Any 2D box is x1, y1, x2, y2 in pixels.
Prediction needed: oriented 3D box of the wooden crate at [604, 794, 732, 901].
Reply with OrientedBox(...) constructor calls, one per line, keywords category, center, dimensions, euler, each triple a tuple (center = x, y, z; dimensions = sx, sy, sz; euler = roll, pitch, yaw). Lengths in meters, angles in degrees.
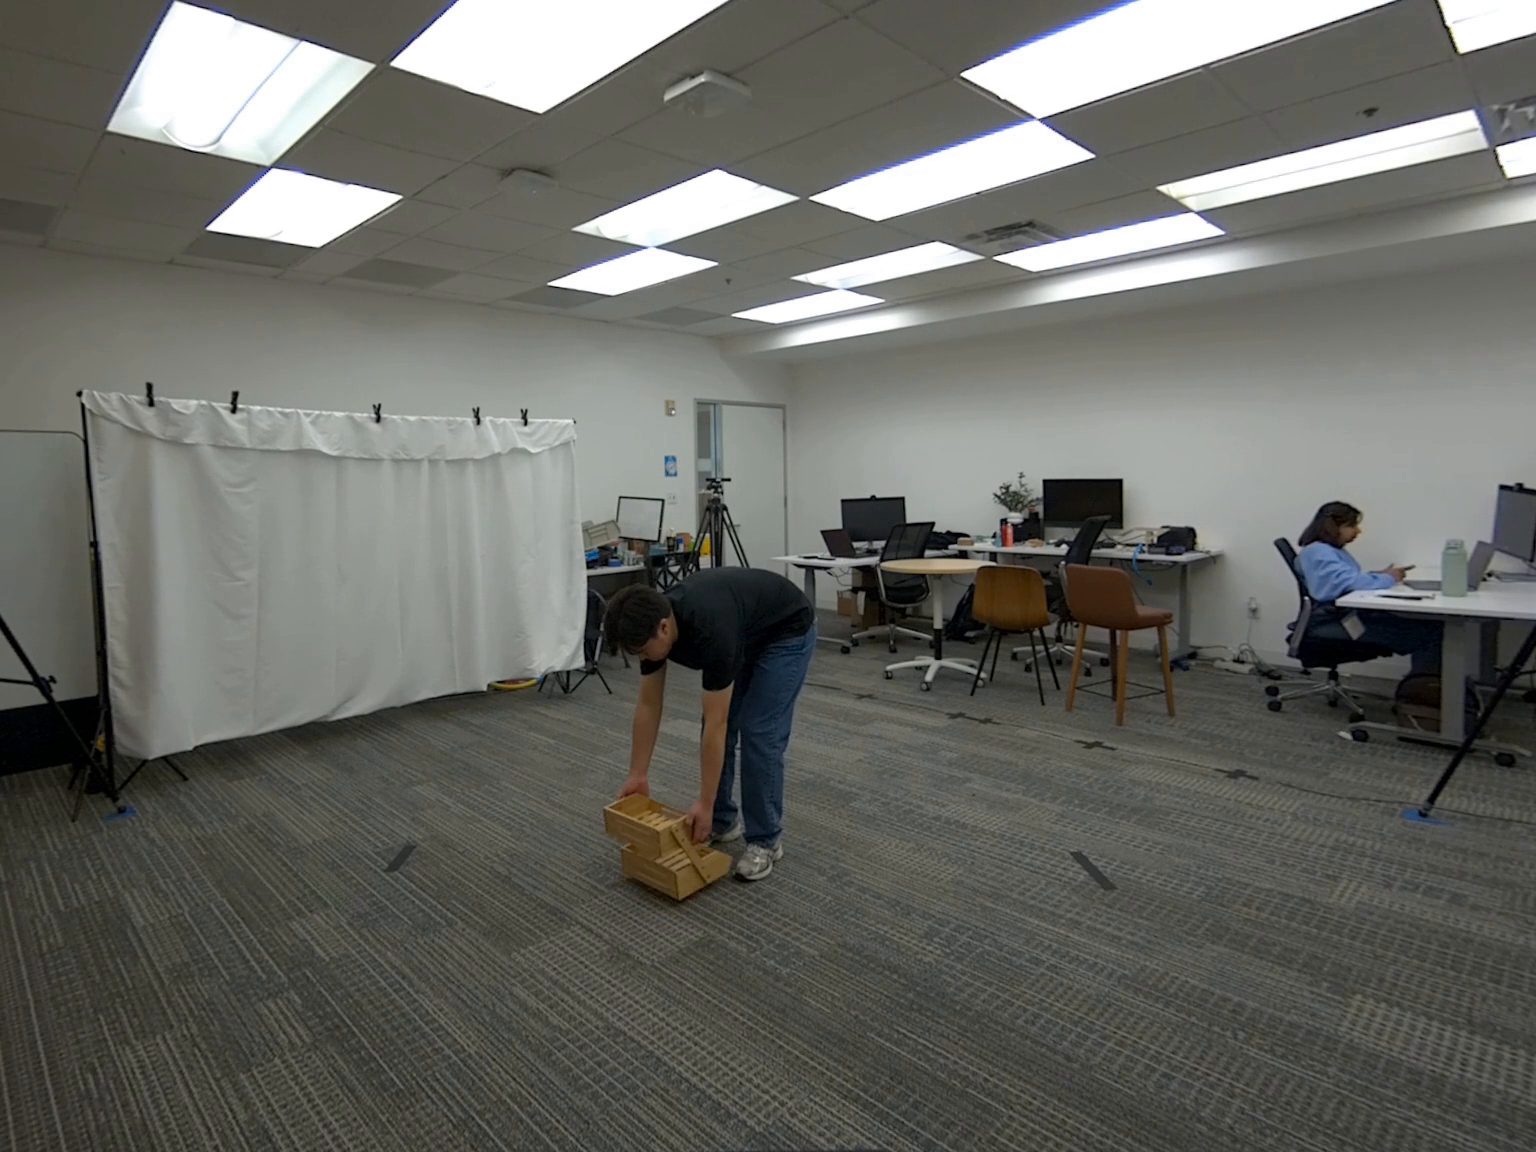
OrientedBox(category="wooden crate", center=(-0.337, 0.900, 2.939), dimensions=(0.334, 0.271, 0.295), euler=(3, 12, 45))
